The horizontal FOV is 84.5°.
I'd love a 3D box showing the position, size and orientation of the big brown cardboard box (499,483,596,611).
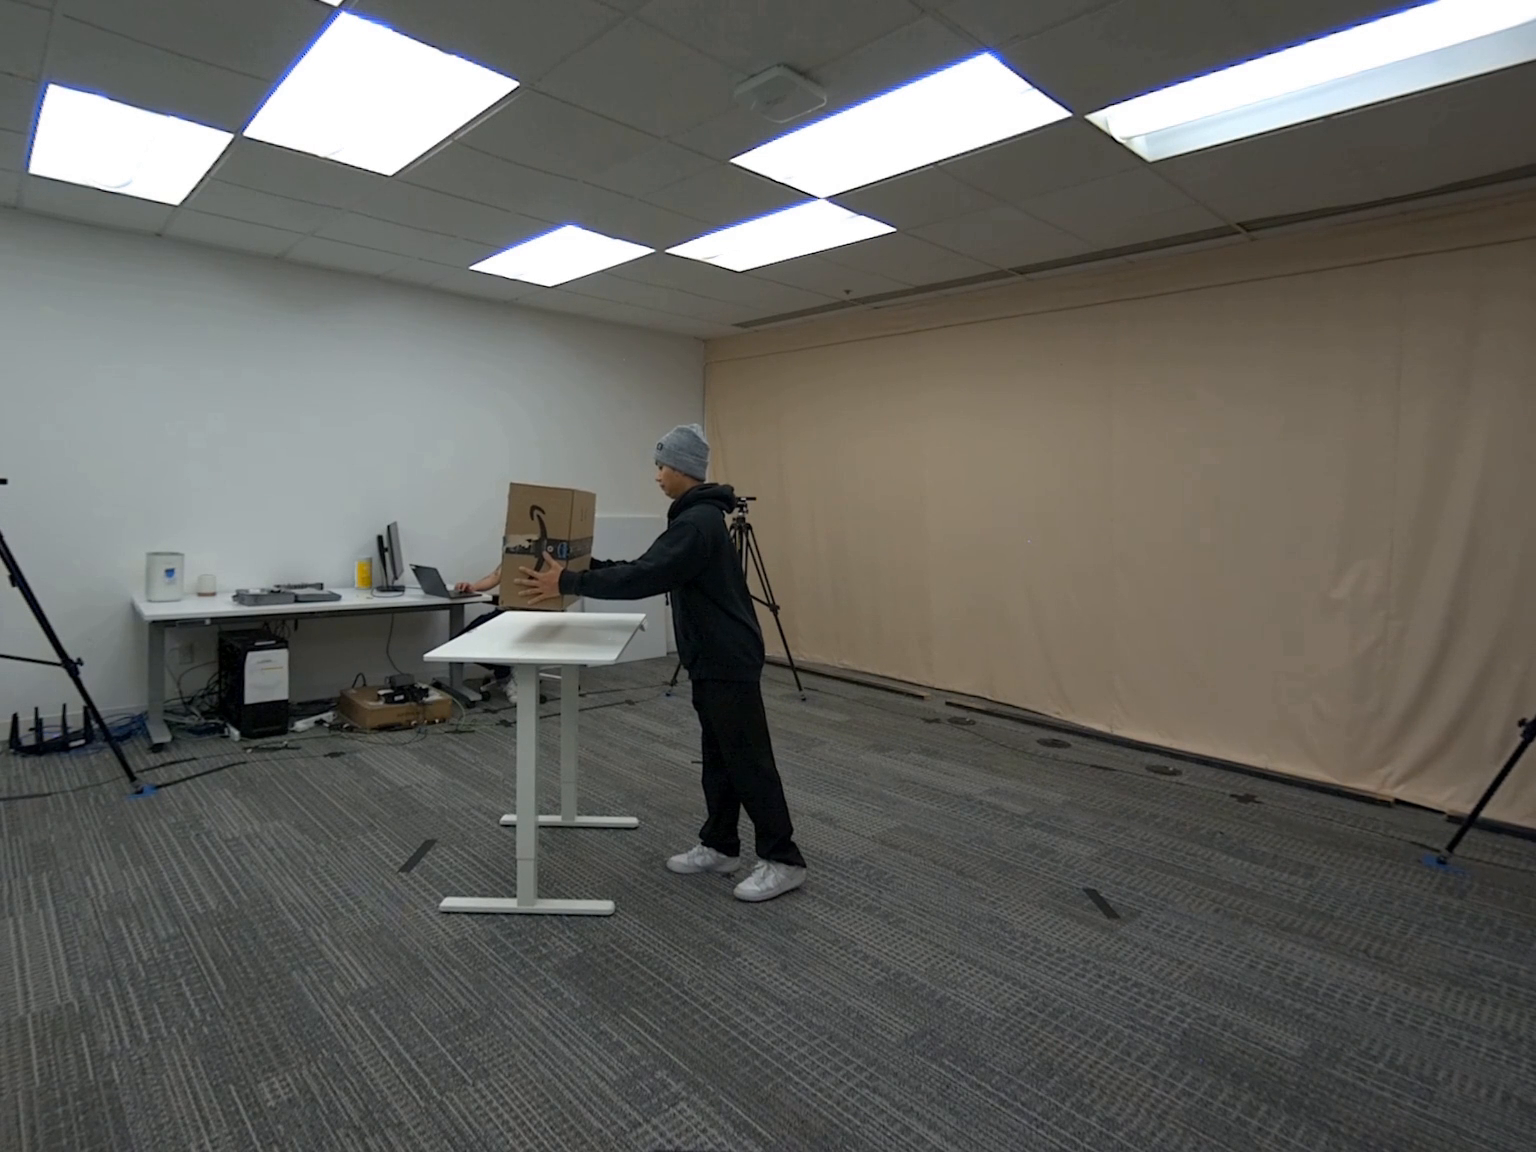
[{"bbox_3d":[-0.799,-0.116,3.096,0.232,0.417,0.591,5,3,-4],"label":"big brown cardboard box"}]
